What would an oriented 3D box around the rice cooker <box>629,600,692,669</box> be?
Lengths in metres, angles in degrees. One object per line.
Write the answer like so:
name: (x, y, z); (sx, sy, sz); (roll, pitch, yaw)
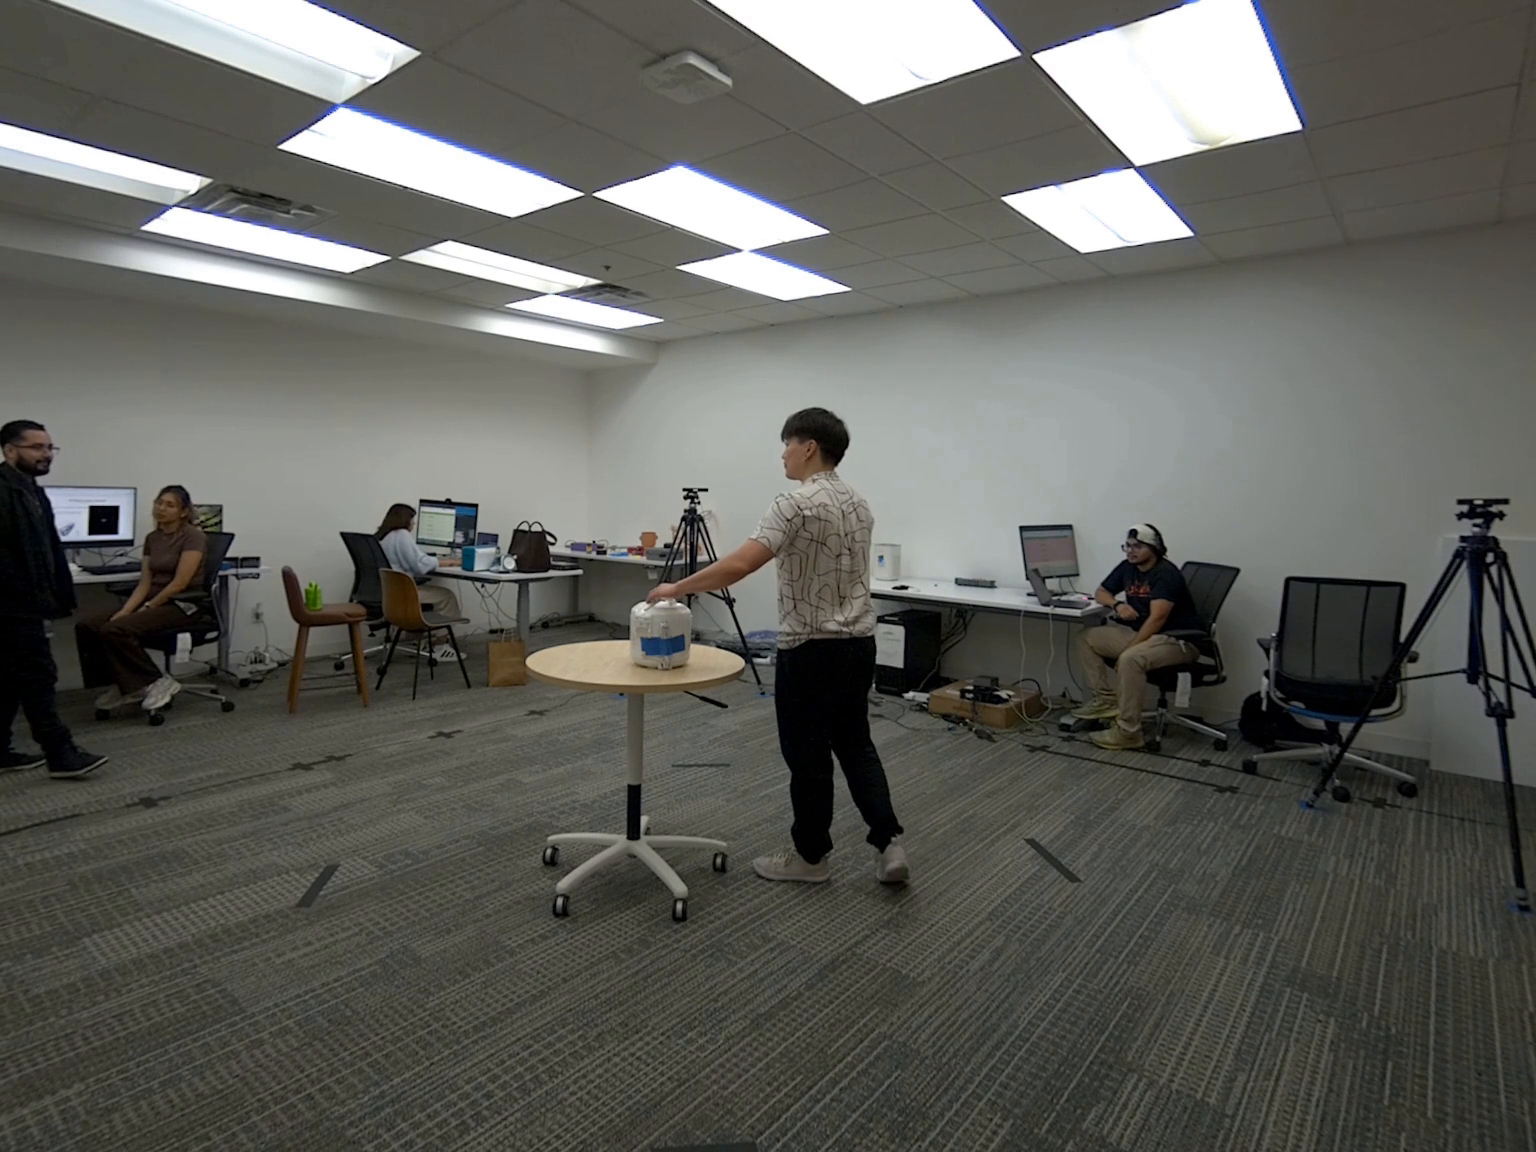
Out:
rice cooker: (-0.383, 0.186, 2.938); (0.224, 0.232, 0.215); (6, 6, 31)
